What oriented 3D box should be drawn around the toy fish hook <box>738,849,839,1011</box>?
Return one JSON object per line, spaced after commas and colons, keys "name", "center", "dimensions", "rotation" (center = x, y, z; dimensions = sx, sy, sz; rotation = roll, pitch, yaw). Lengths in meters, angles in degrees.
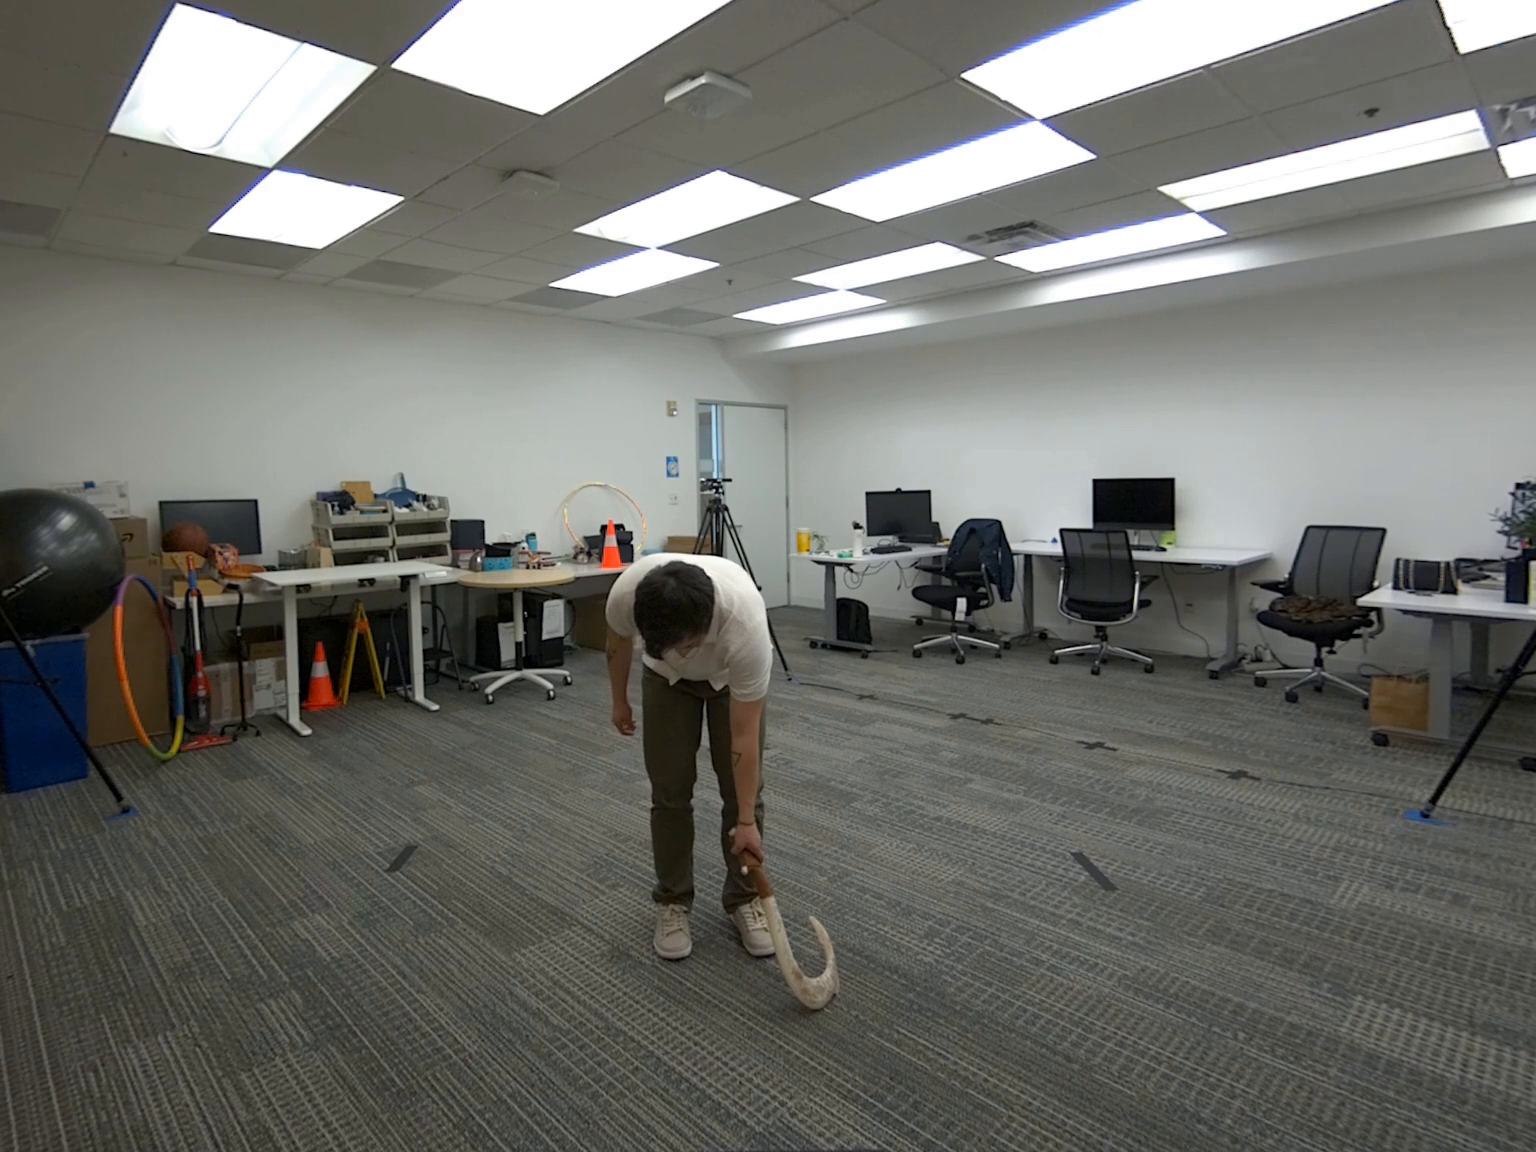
{"name": "toy fish hook", "center": [0.054, 0.915, 2.354], "dimensions": [0.049, 0.516, 0.219], "rotation": [-34, -17, 28]}
